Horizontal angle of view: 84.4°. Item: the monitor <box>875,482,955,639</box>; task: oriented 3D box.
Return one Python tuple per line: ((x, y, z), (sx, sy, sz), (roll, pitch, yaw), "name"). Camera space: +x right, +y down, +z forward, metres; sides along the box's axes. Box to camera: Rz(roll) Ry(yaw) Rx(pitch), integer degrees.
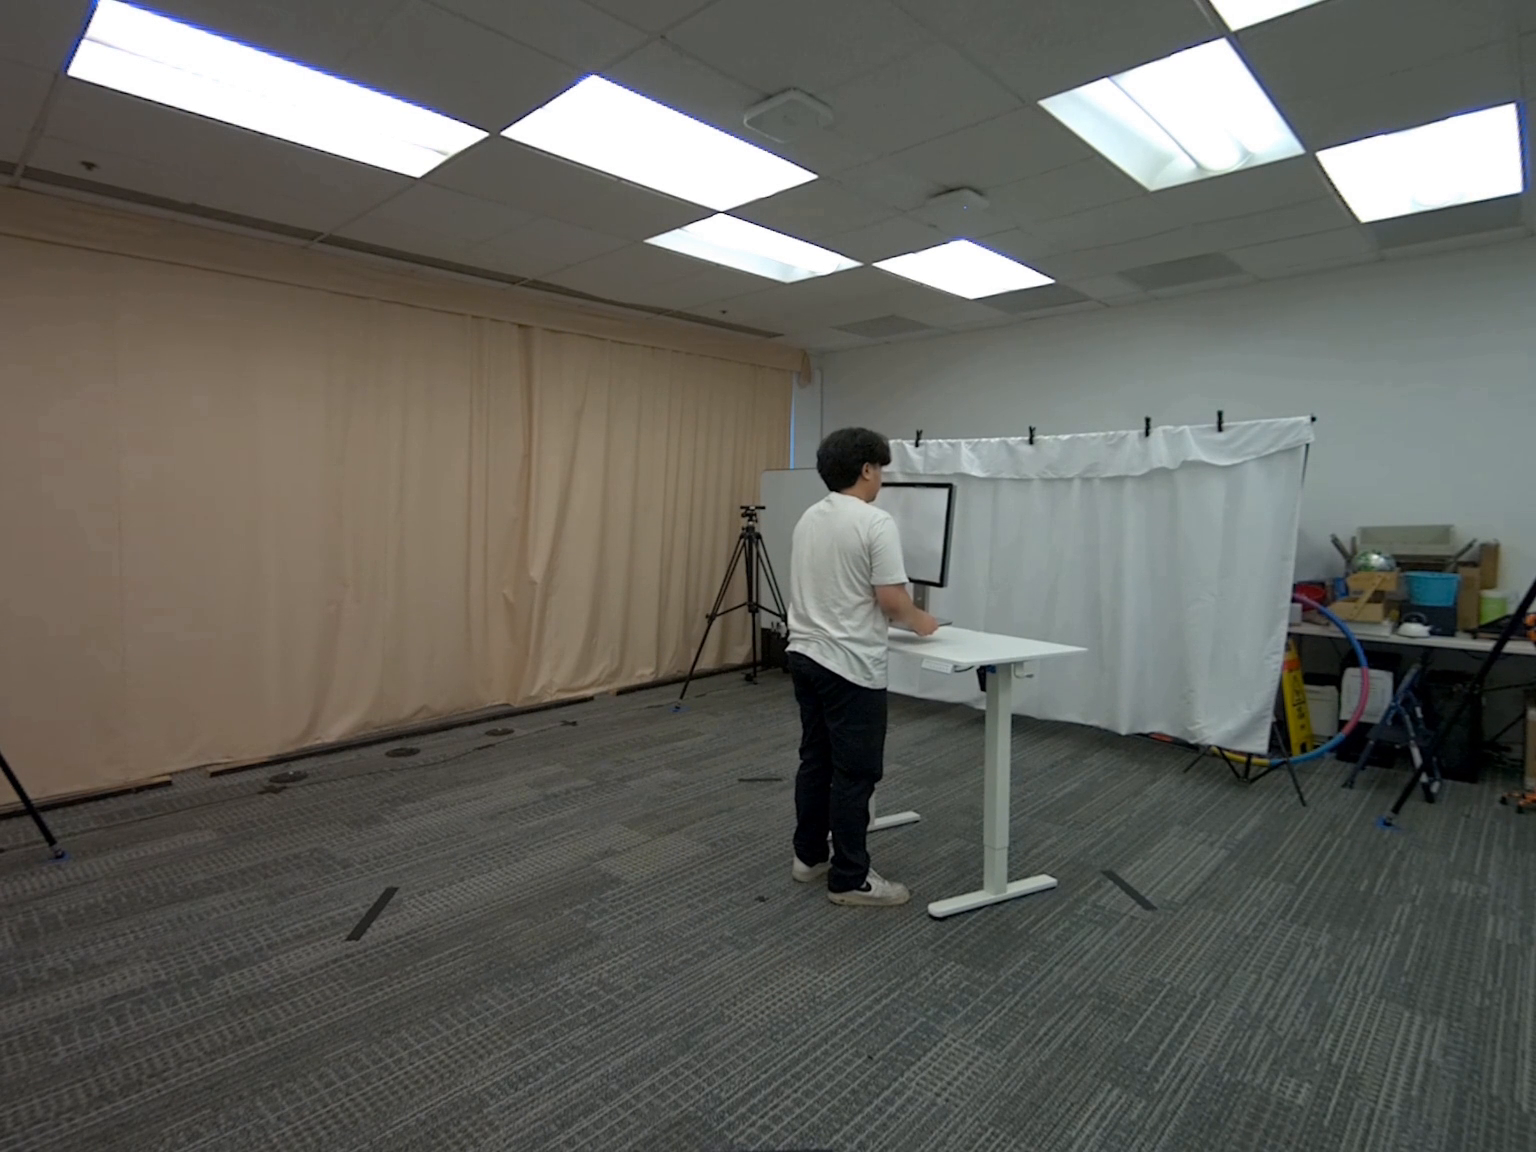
((0.551, -0.082, 3.176), (0.205, 0.552, 0.581), (-3, 6, -28), "monitor")
